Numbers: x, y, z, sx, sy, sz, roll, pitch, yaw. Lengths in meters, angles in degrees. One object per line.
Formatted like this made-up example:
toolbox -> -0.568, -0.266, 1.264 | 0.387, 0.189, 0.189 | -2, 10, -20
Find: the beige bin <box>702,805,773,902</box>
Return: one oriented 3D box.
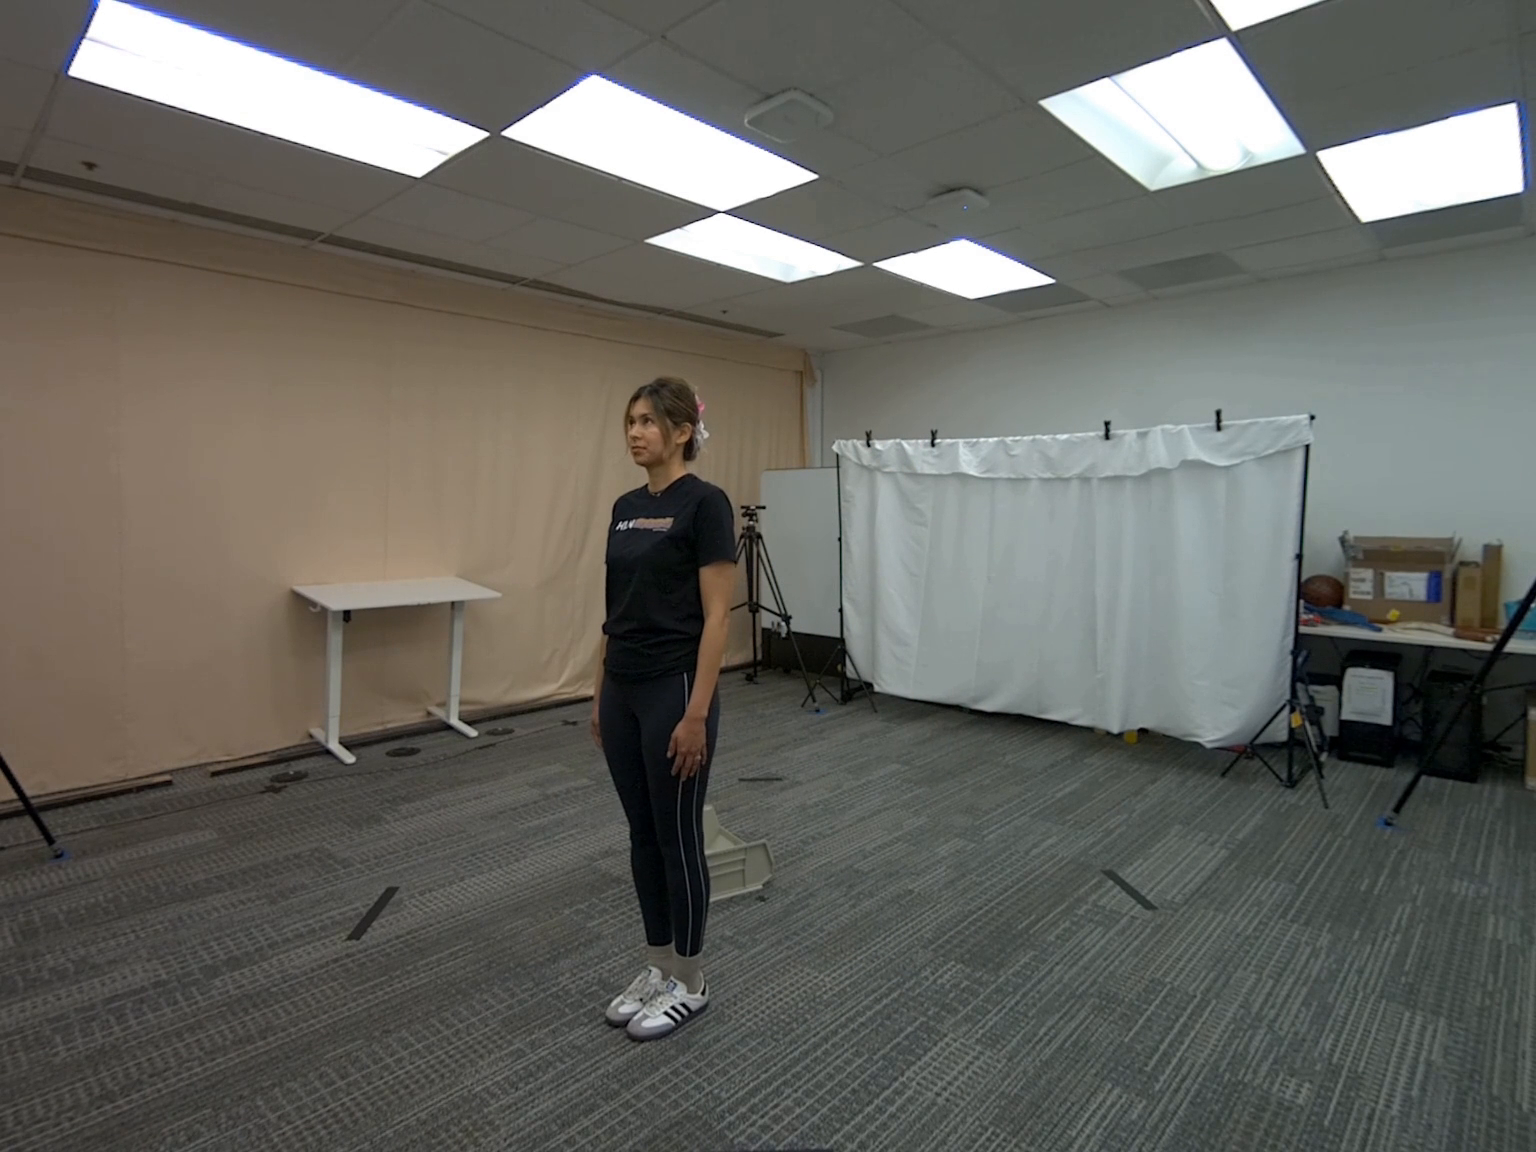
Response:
beige bin -> -0.248, 1.040, 3.169 | 0.367, 0.188, 0.435 | -4, 6, -31
